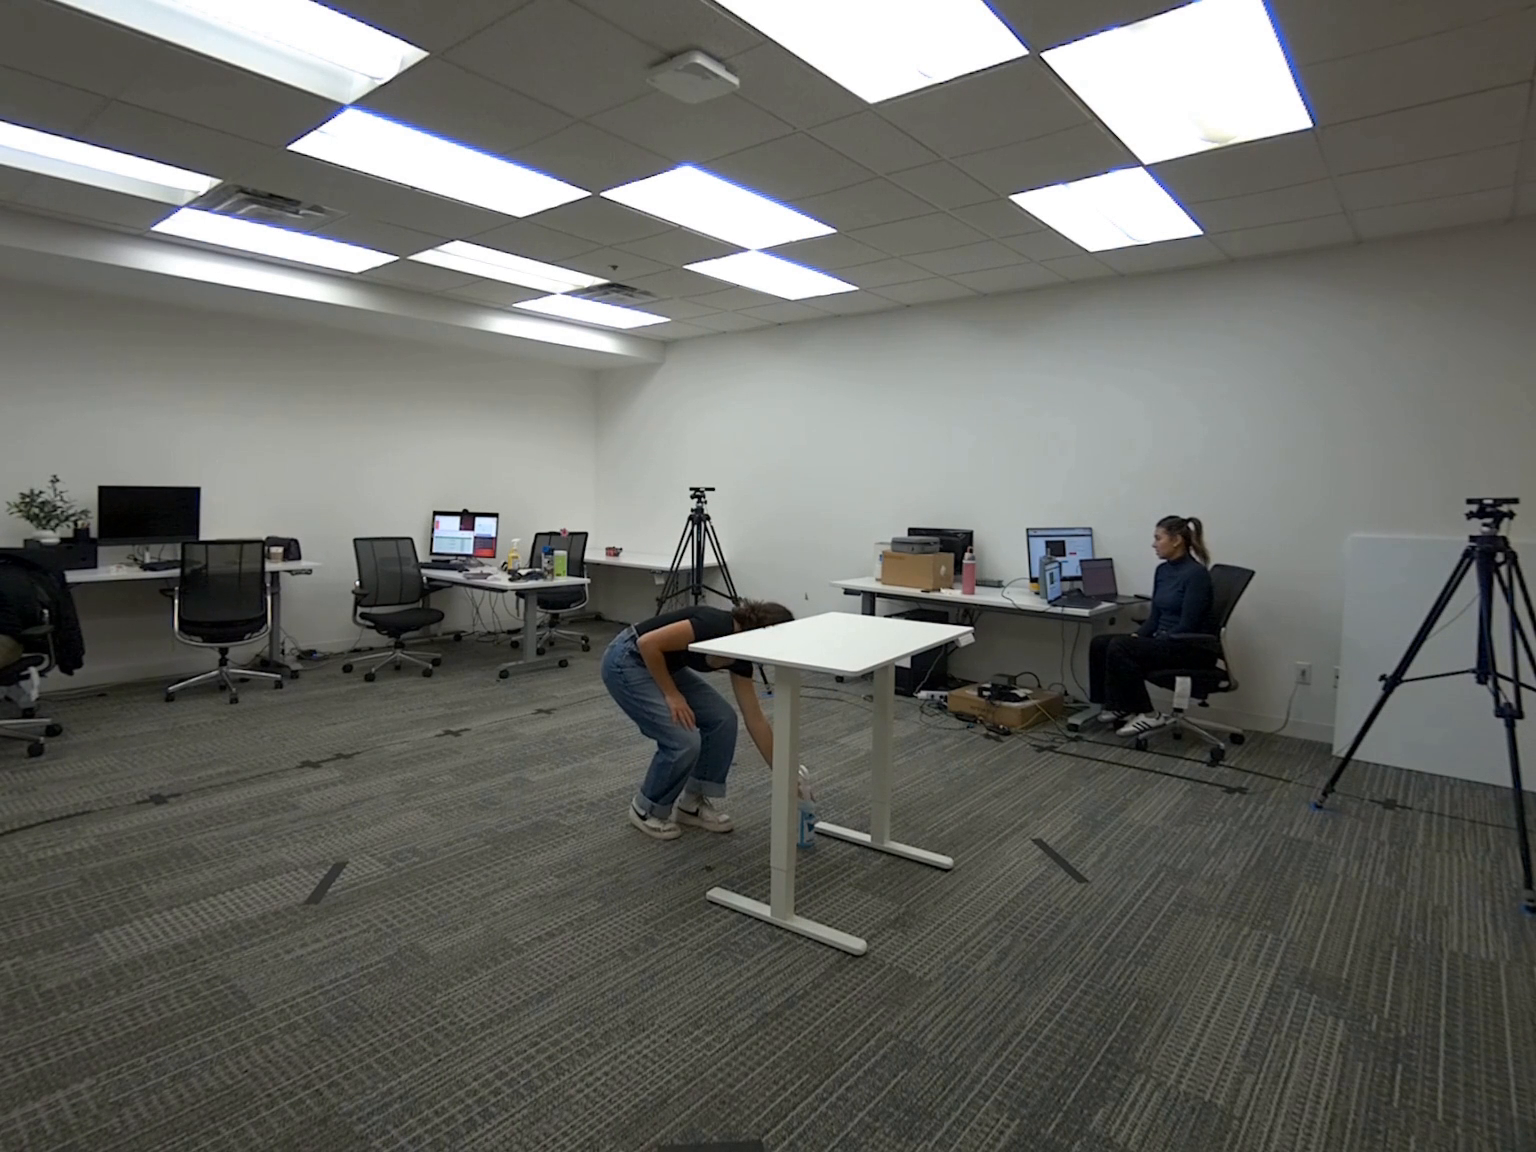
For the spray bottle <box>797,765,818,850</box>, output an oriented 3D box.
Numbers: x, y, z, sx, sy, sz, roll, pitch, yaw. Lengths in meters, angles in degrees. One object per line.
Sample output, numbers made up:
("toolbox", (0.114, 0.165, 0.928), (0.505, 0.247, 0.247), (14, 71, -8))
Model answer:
("spray bottle", (0.142, 0.911, 3.355), (0.089, 0.297, 0.088), (2, 0, 20))
